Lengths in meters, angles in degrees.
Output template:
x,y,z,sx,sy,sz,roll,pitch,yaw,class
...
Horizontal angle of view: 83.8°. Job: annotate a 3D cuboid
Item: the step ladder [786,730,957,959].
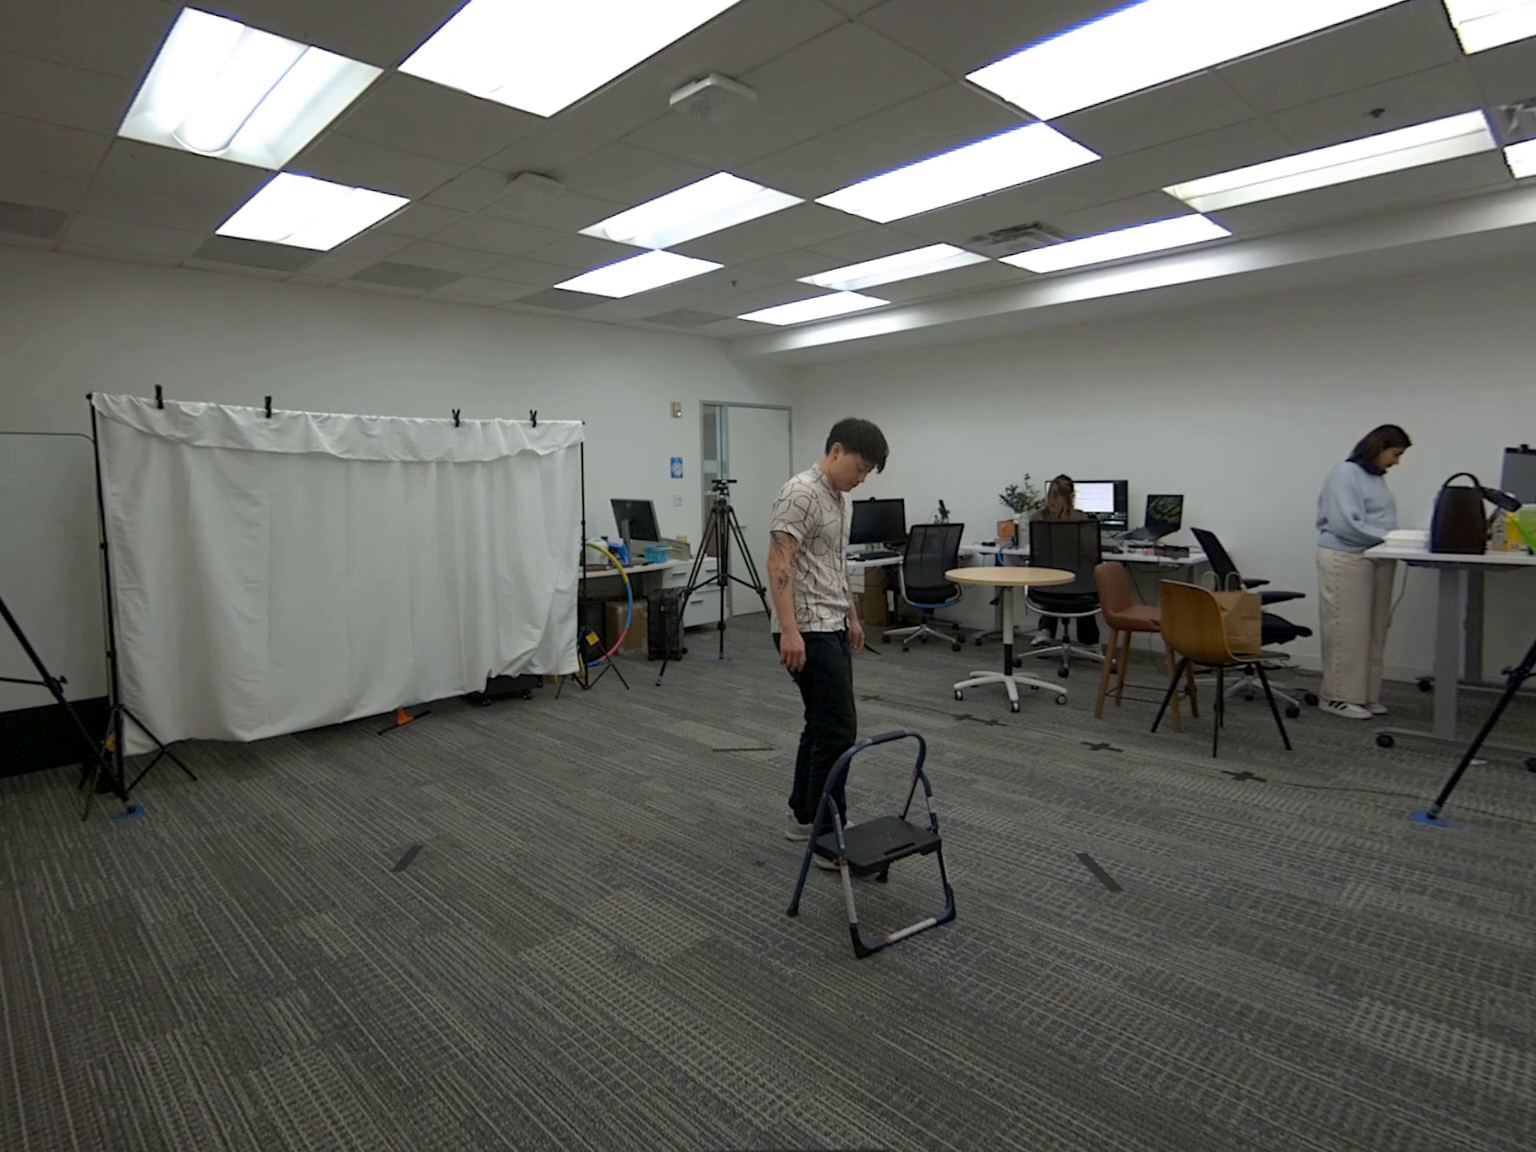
x,y,z,sx,sy,sz,roll,pitch,yaw,class
0.327,0.783,2.706,0.420,0.604,0.360,-4,6,-36,step ladder
